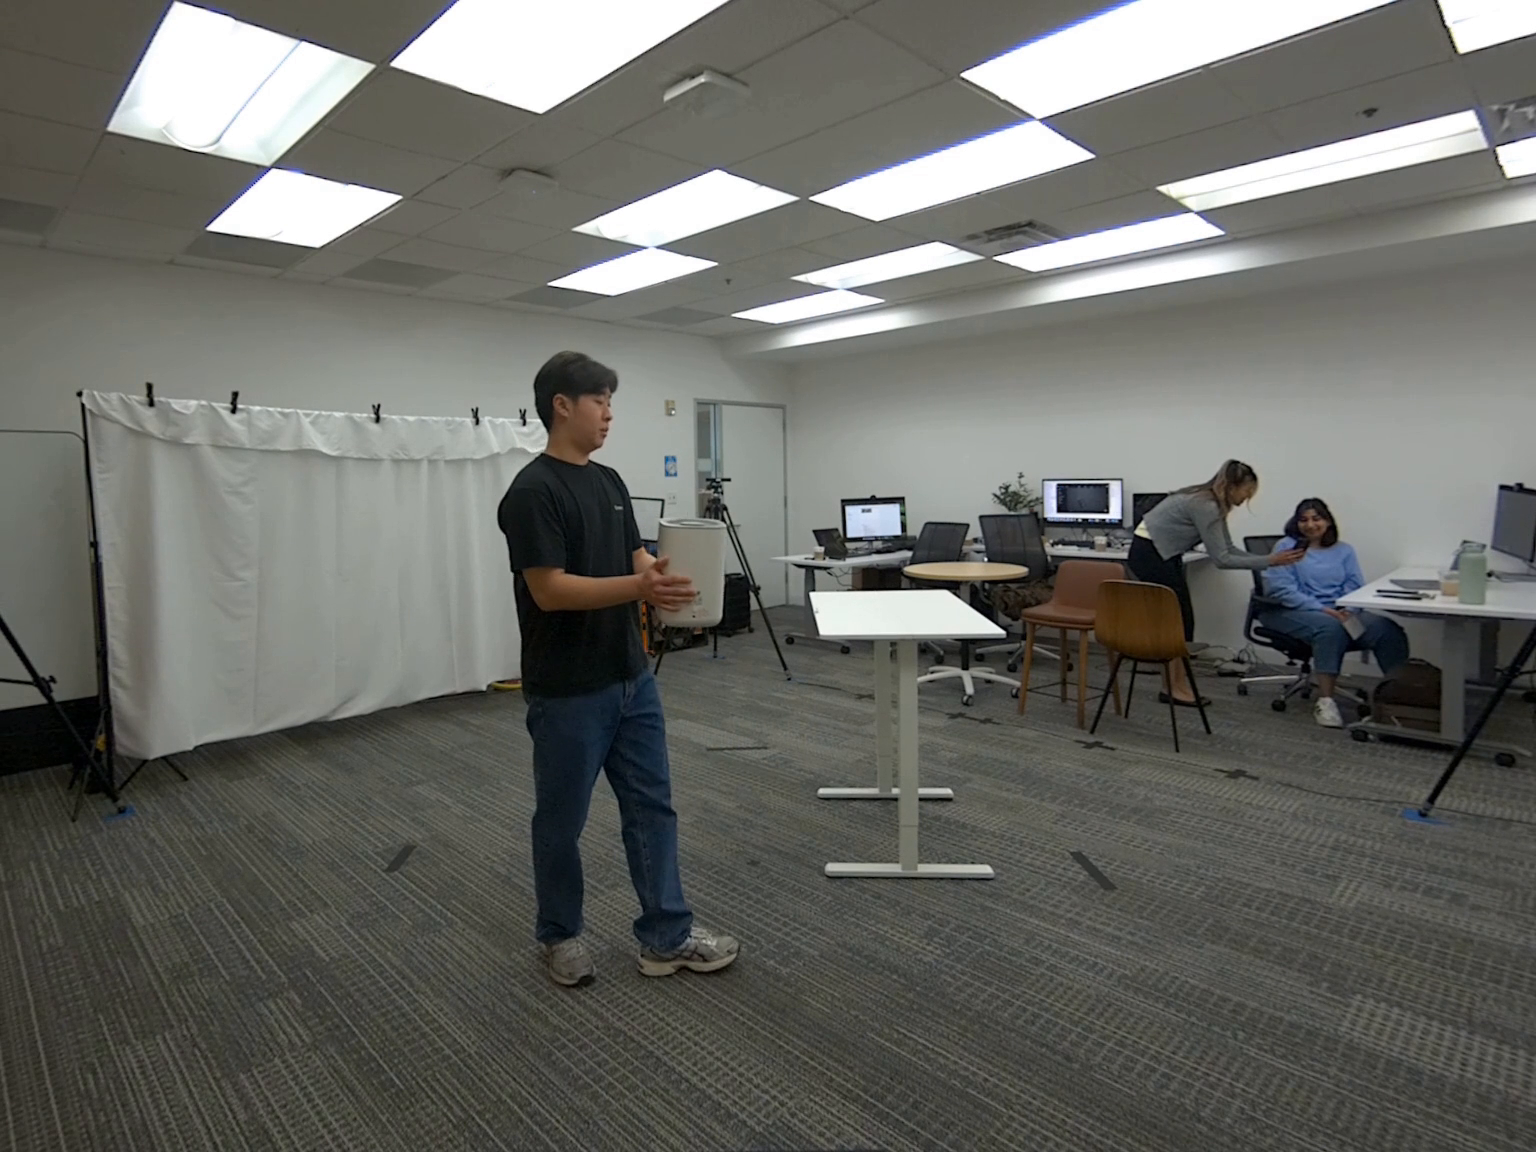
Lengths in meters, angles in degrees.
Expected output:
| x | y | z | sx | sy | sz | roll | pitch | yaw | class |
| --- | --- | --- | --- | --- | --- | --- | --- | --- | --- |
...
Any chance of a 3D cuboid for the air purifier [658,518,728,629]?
| x | y | z | sx | sy | sz | roll | pitch | yaw | class |
| --- | --- | --- | --- | --- | --- | --- | --- | --- | --- |
| -0.202 | -0.010 | 2.240 | 0.168 | 0.264 | 0.175 | 2 | 8 | -17 | air purifier |
